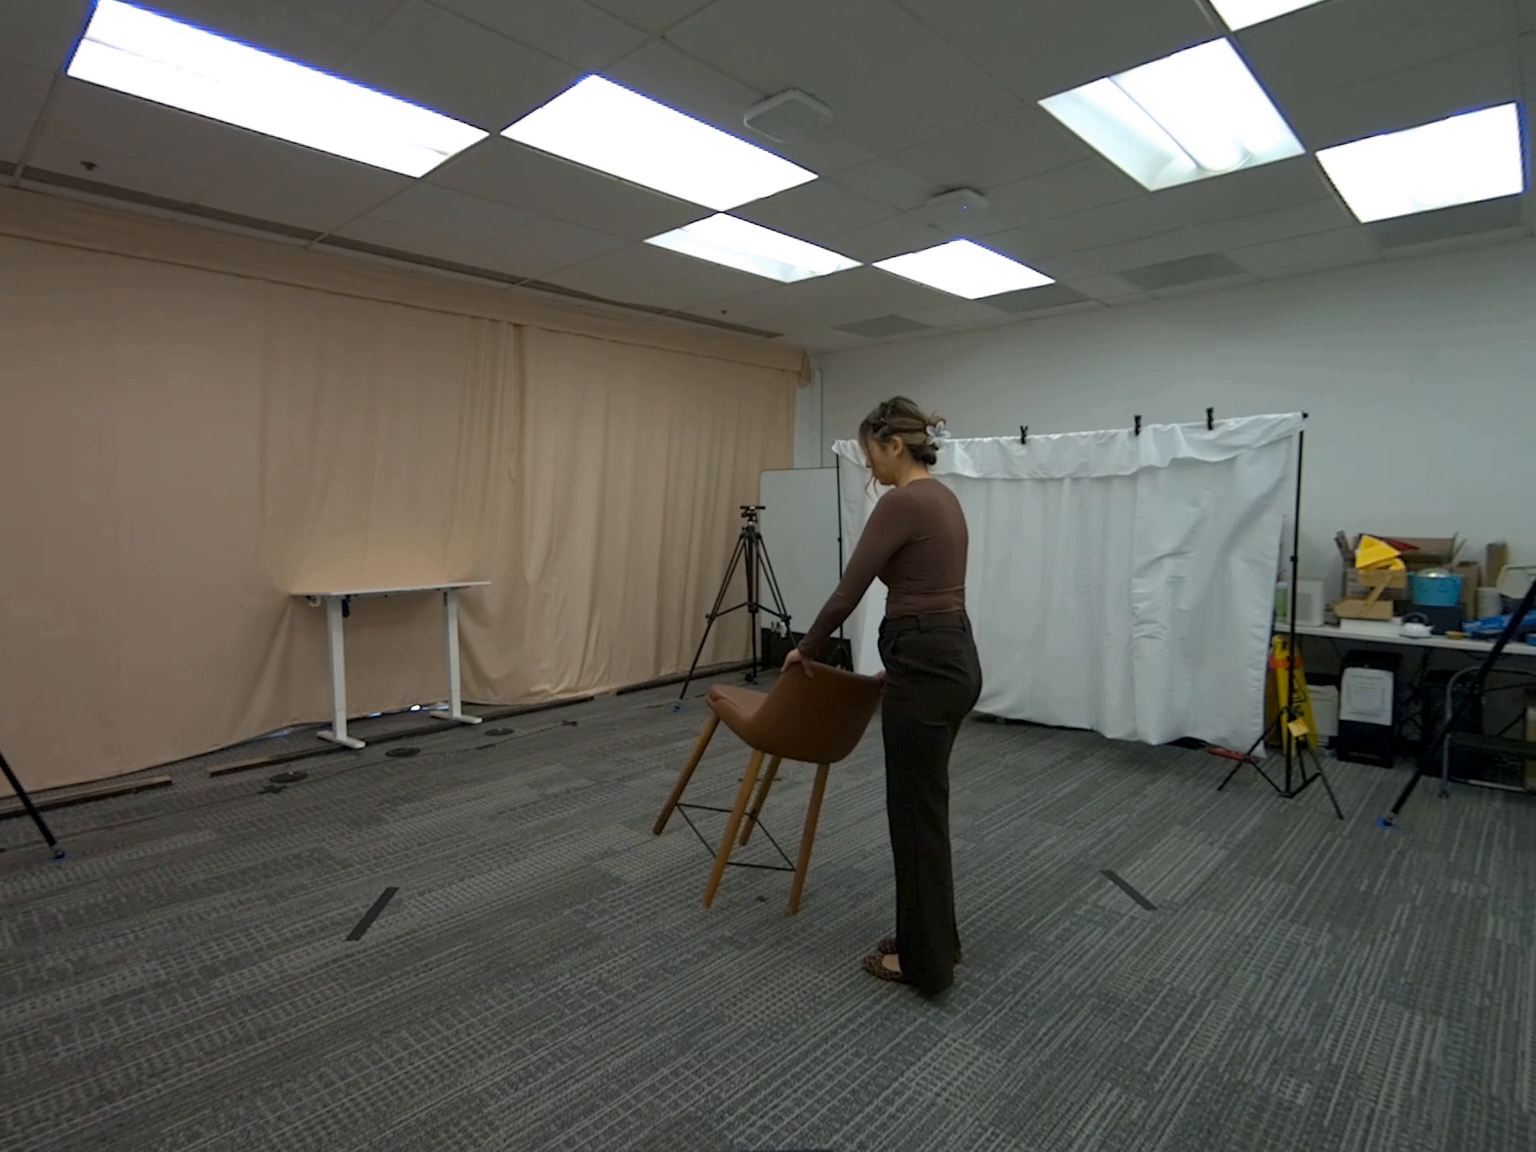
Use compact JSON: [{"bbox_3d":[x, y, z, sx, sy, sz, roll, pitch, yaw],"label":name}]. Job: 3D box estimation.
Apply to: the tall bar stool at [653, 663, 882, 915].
[{"bbox_3d":[0.003,0.647,2.924,0.442,0.888,0.483,17,8,-30],"label":"tall bar stool"}]
